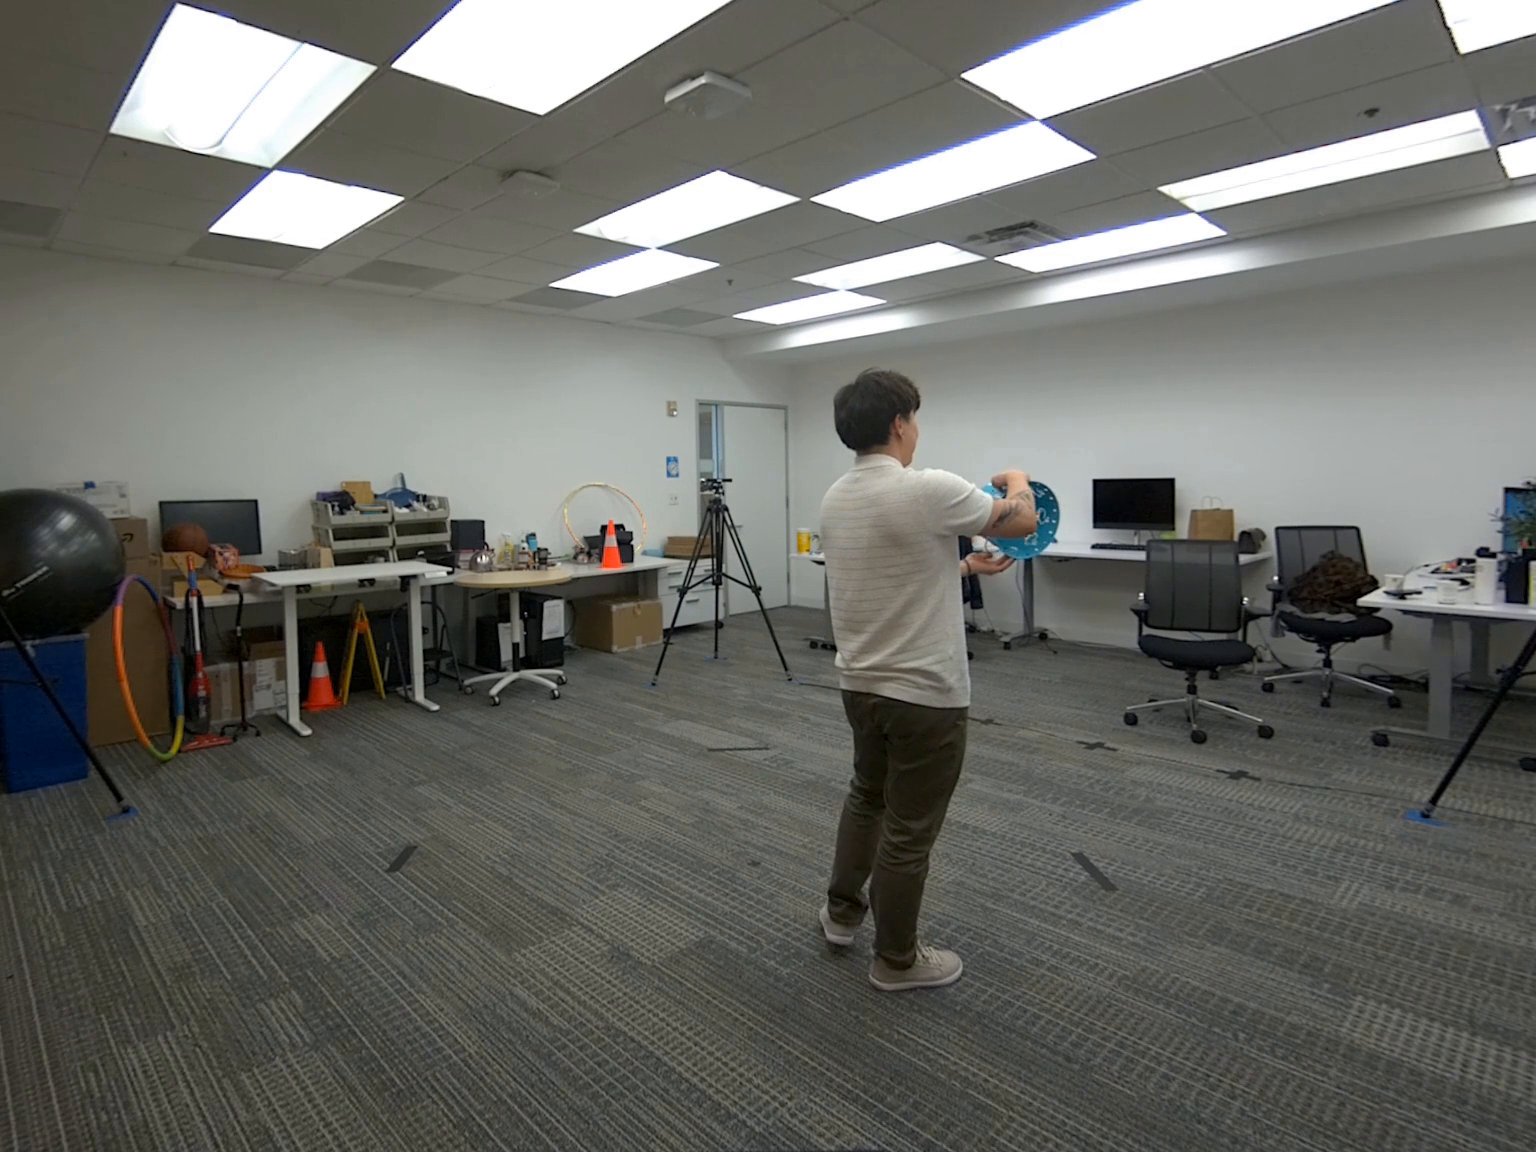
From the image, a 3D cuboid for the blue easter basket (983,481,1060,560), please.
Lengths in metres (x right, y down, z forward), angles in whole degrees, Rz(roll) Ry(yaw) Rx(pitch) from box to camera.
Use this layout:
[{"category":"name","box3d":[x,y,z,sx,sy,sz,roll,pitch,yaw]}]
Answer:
[{"category":"blue easter basket","box3d":[0.730,-0.174,2.540,0.239,0.241,0.160,-3,12,-20]}]
